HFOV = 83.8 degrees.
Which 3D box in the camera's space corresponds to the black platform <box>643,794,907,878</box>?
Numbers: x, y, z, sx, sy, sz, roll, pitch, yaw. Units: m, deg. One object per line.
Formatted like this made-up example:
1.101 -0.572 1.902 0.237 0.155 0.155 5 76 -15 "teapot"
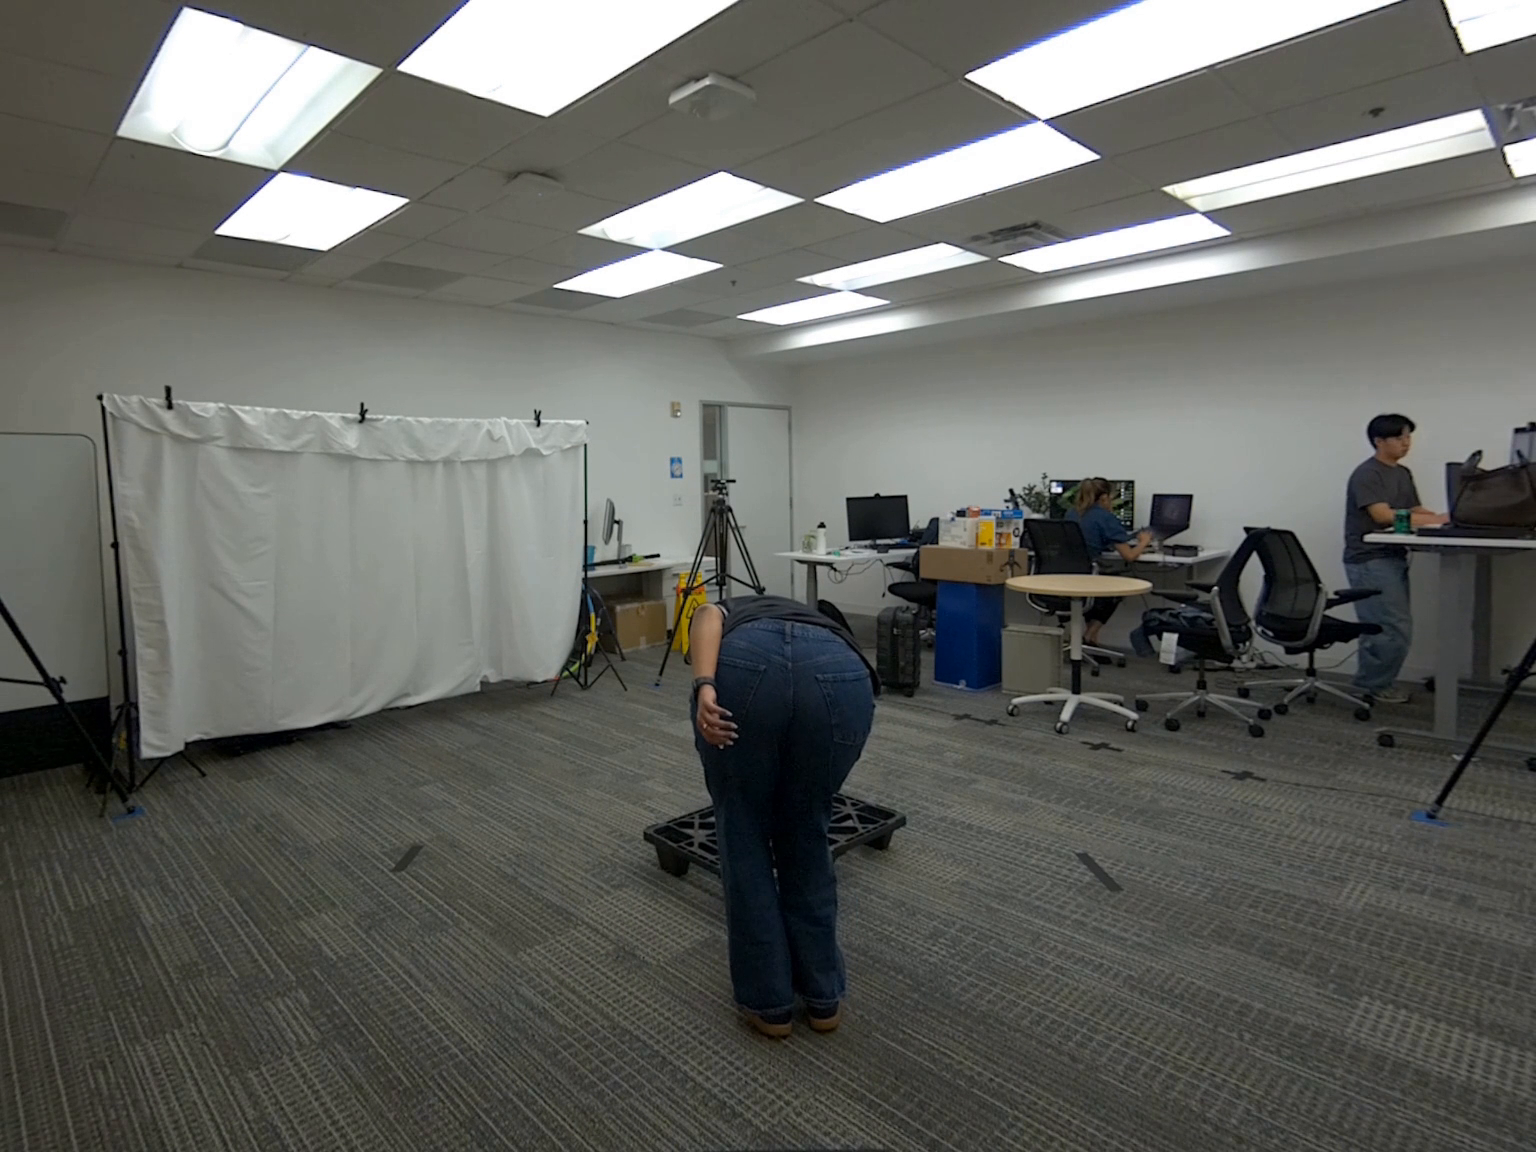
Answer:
0.043 0.972 3.149 0.784 0.143 0.624 -7 9 -44 "black platform"
